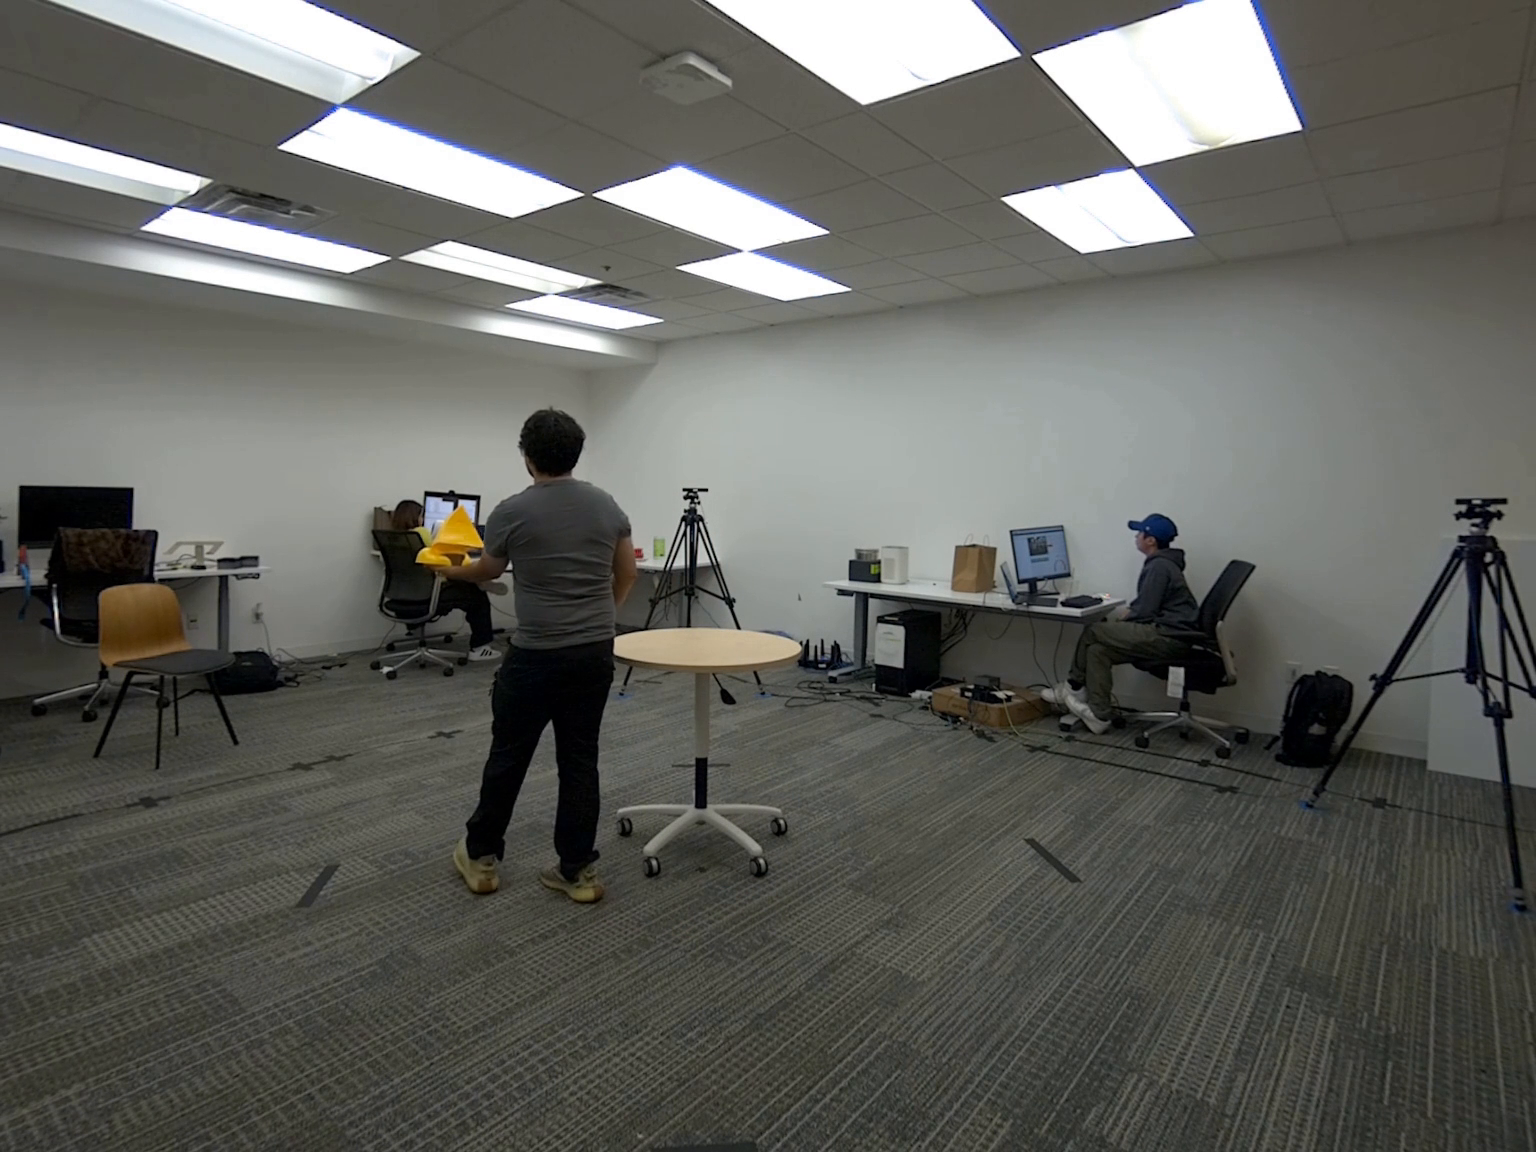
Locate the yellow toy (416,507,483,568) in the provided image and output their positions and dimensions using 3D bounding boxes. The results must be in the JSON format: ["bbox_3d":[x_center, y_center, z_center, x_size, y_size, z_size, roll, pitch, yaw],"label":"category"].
[{"bbox_3d":[-1.226,-0.158,3.229,0.199,0.231,0.198,2,-4,36],"label":"yellow toy"}]
